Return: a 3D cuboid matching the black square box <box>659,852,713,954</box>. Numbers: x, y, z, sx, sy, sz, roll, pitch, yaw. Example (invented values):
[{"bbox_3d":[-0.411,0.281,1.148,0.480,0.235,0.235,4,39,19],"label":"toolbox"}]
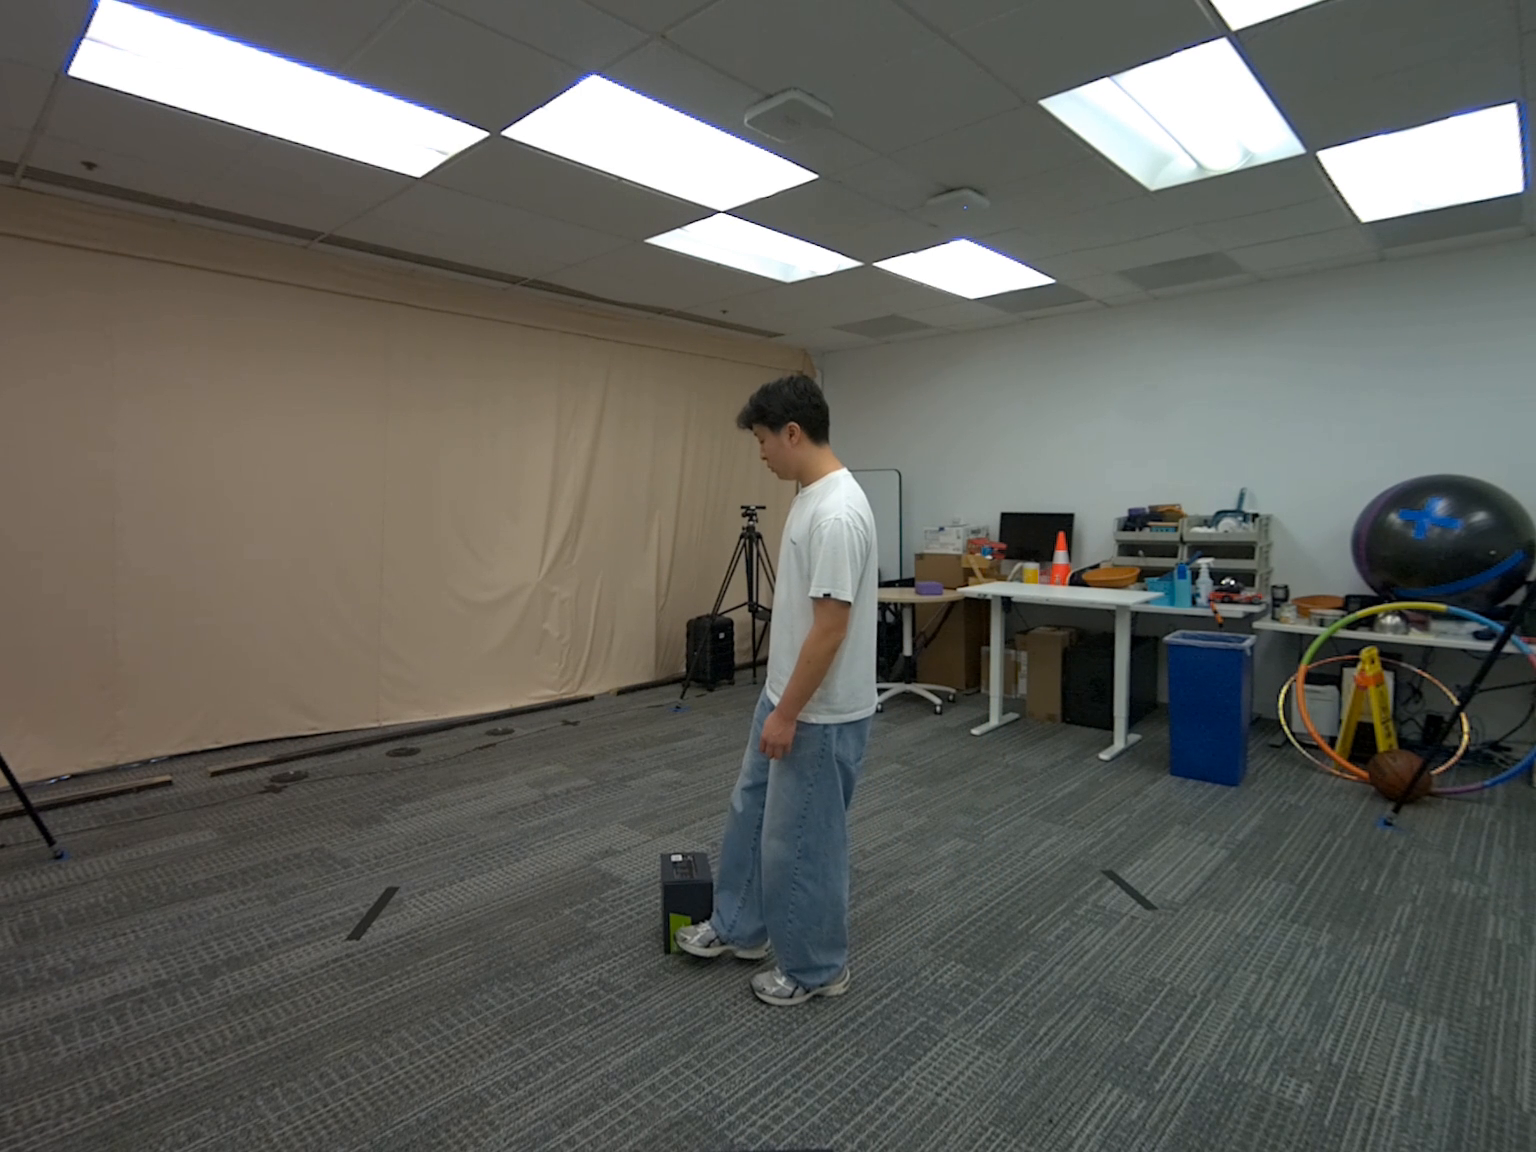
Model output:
[{"bbox_3d":[-0.270,1.046,2.732,0.154,0.227,0.220,0,3,-11],"label":"black square box"}]
